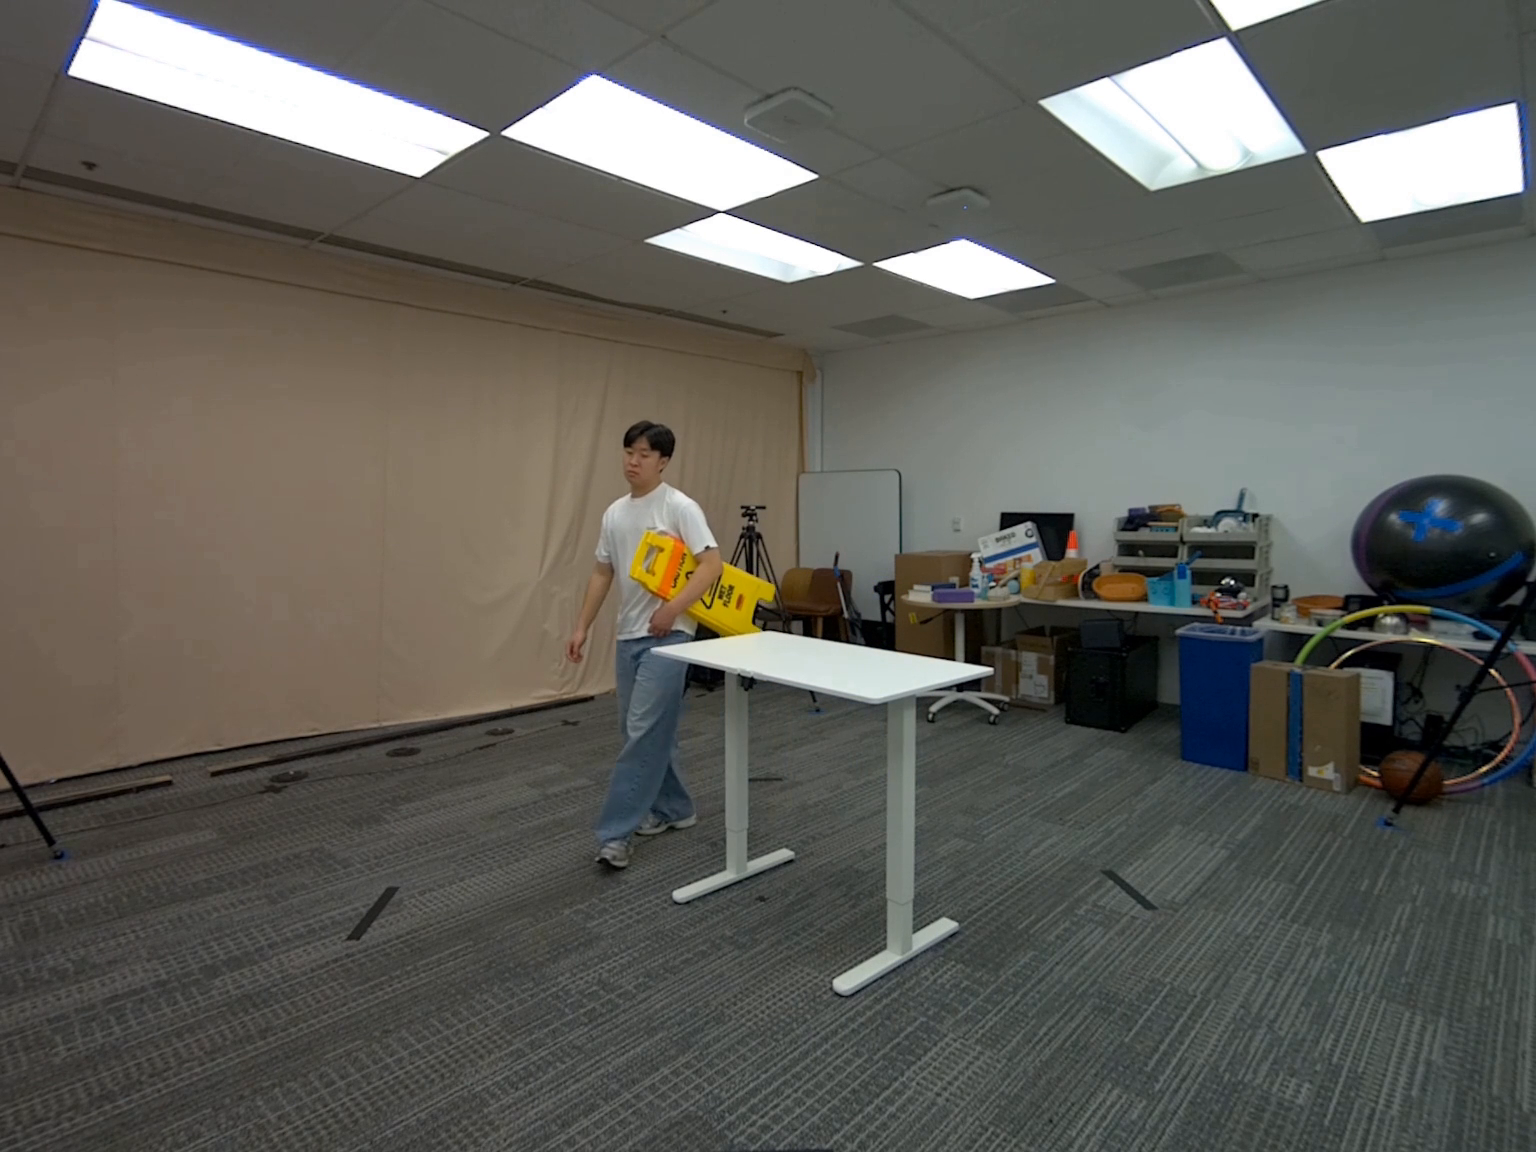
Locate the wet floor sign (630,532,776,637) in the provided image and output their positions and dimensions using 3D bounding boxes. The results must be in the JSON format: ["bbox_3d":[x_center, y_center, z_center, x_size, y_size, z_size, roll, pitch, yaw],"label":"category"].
[{"bbox_3d":[-0.278,0.044,3.396,0.624,0.283,0.299,32,-23,-36],"label":"wet floor sign"}]
